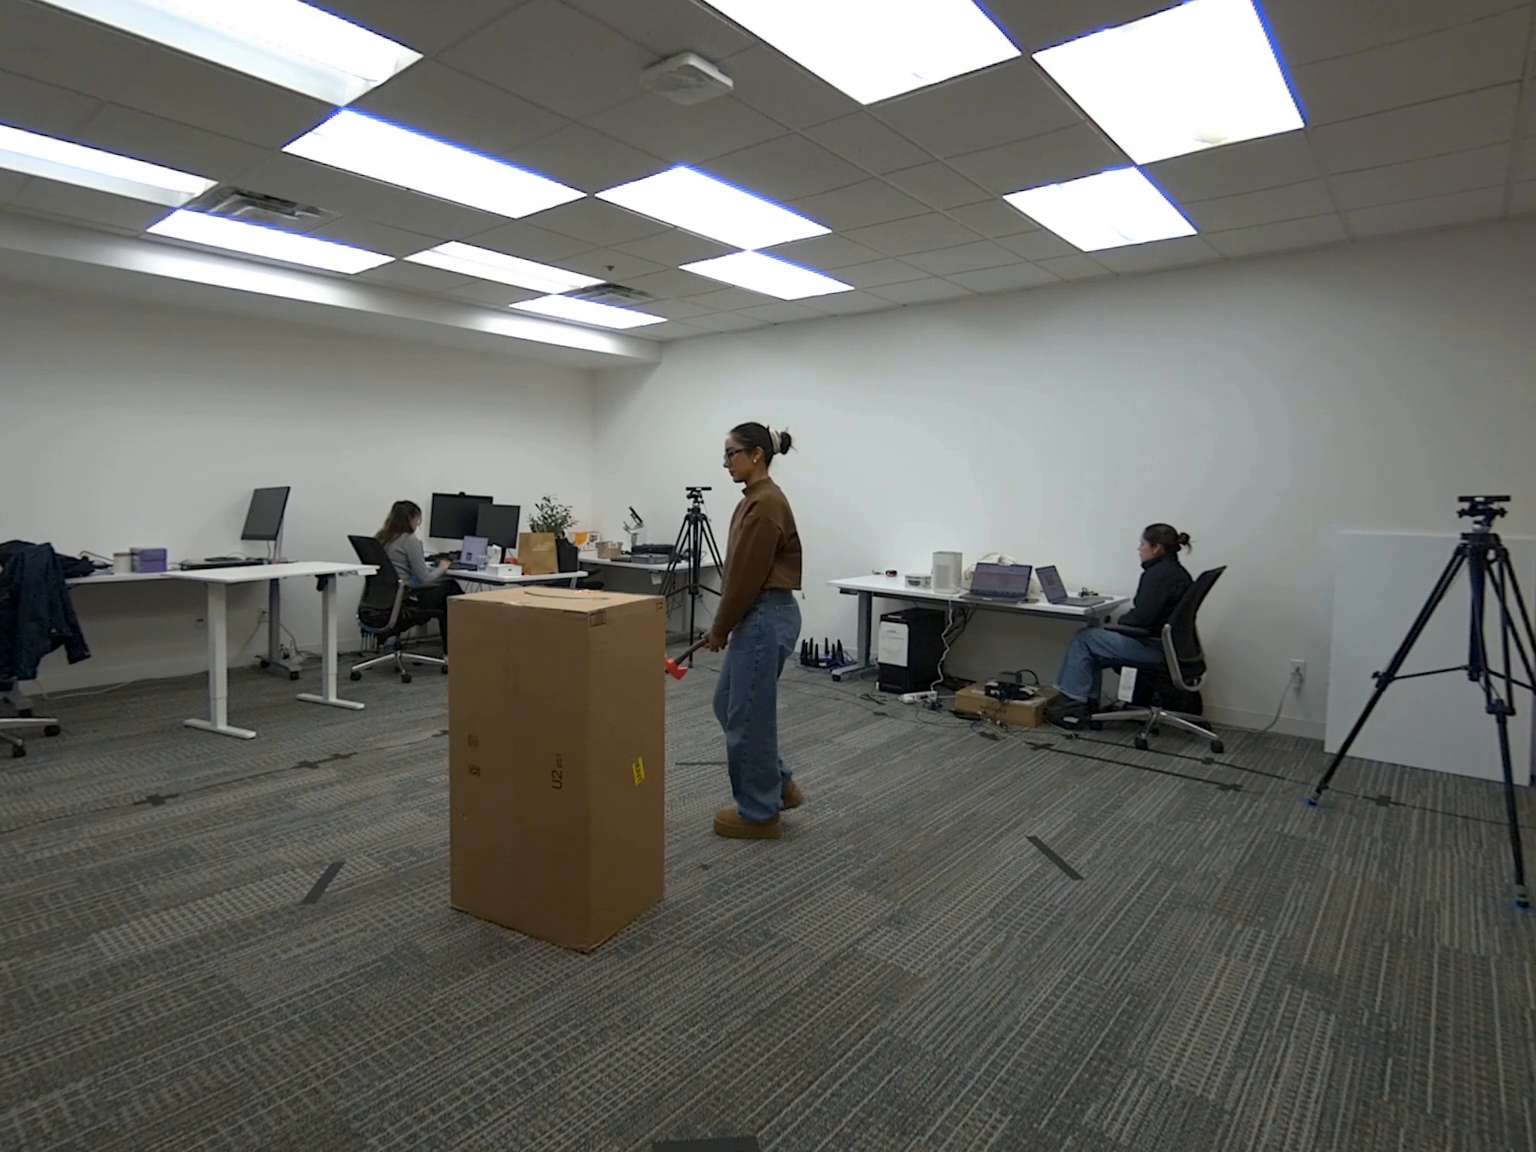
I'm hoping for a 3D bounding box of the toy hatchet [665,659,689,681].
[{"bbox_3d":[-0.293,0.332,3.390,0.268,0.129,0.030,-16,16,-11],"label":"toy hatchet"}]
